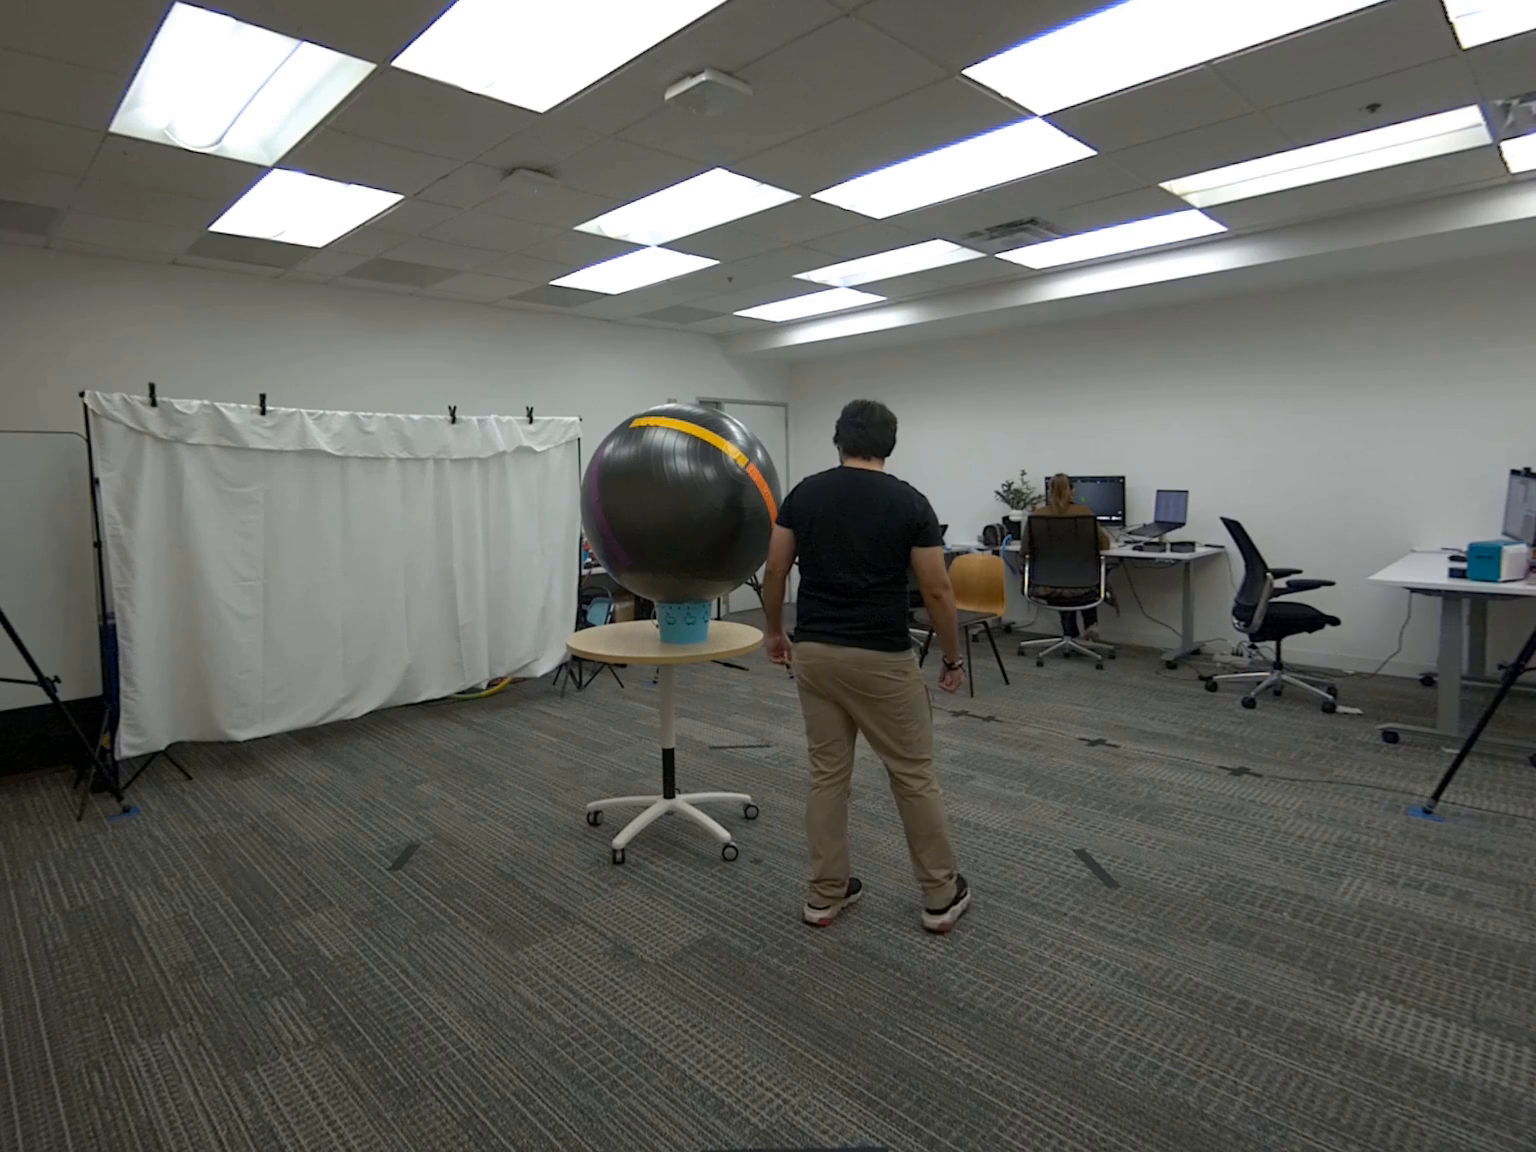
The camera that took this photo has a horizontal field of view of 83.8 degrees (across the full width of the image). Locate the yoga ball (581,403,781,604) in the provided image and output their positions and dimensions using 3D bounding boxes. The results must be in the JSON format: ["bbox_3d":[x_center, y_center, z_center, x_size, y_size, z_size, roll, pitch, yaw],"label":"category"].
[{"bbox_3d":[-0.326,-0.267,3.231,0.757,0.755,0.762,-1,5,-2],"label":"yoga ball"}]
